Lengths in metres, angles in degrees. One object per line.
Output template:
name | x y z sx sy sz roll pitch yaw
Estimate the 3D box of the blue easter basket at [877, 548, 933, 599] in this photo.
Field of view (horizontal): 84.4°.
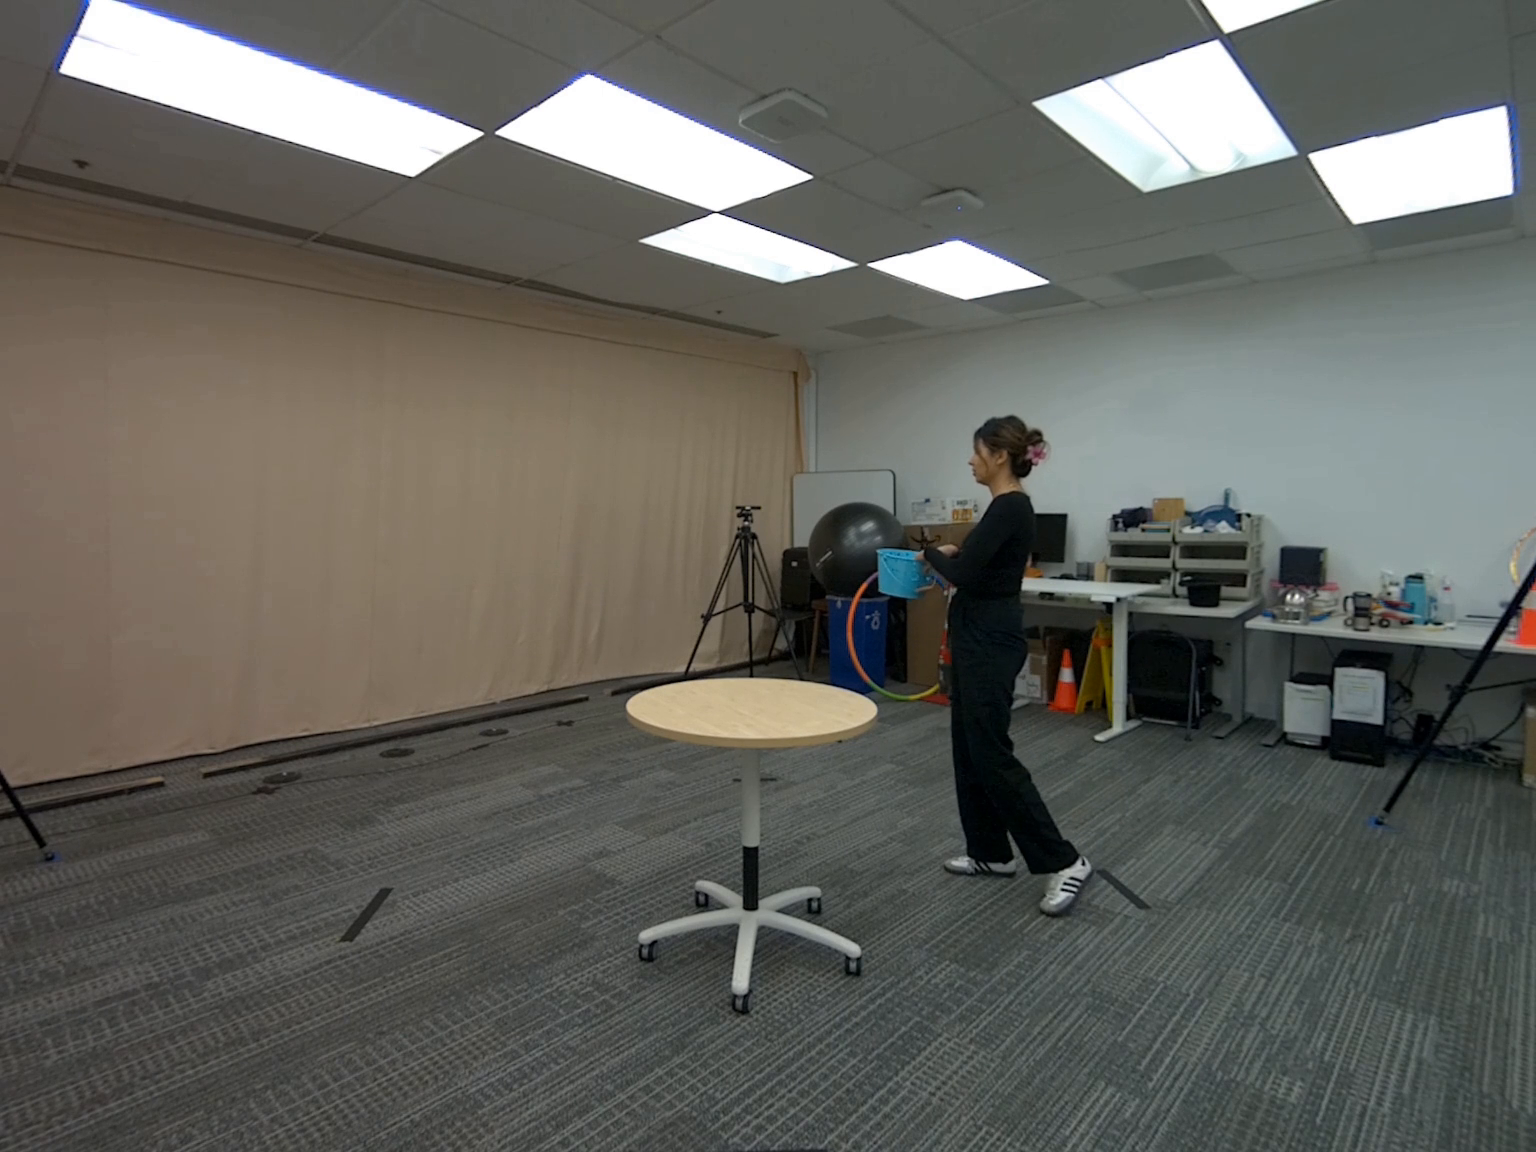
blue easter basket | 0.564 -0.005 3.241 0.243 0.155 0.245 2 7 -2
